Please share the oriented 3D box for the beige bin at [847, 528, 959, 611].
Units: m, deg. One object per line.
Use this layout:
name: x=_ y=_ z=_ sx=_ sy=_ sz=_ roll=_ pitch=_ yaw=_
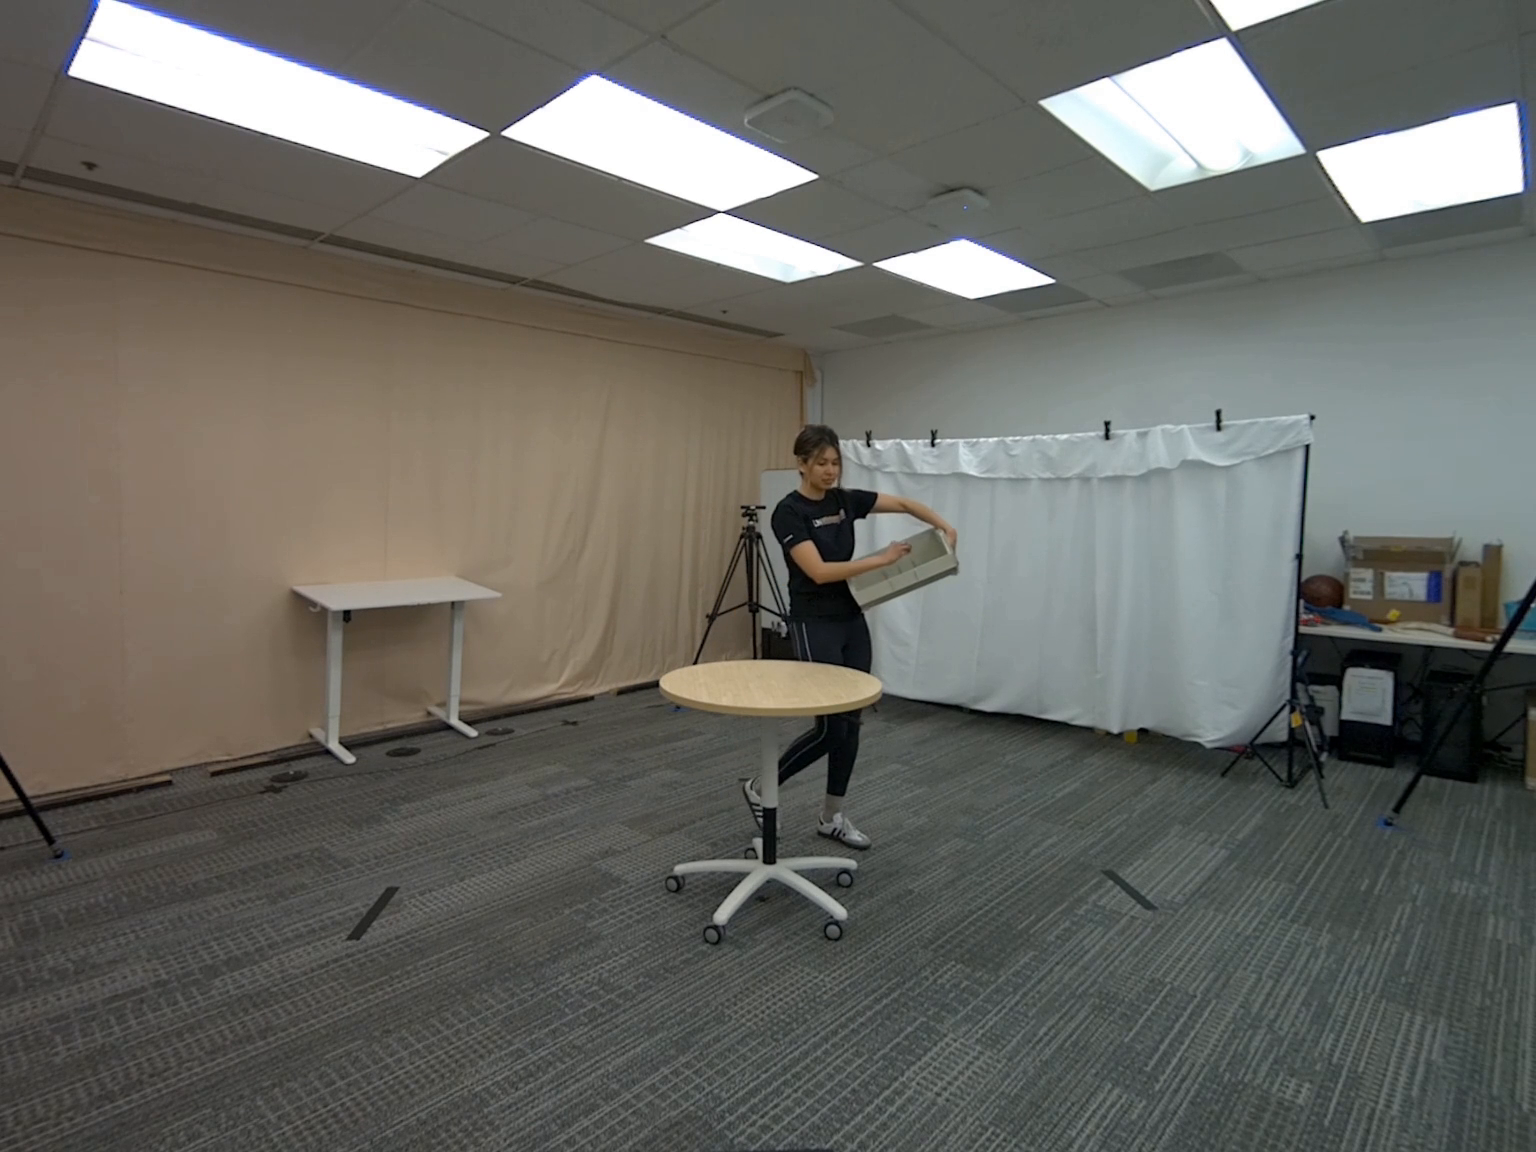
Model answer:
beige bin: x=0.539 y=-0.032 z=3.428 sx=0.425 sy=0.189 sz=0.374 roll=-24 pitch=1 yaw=10
